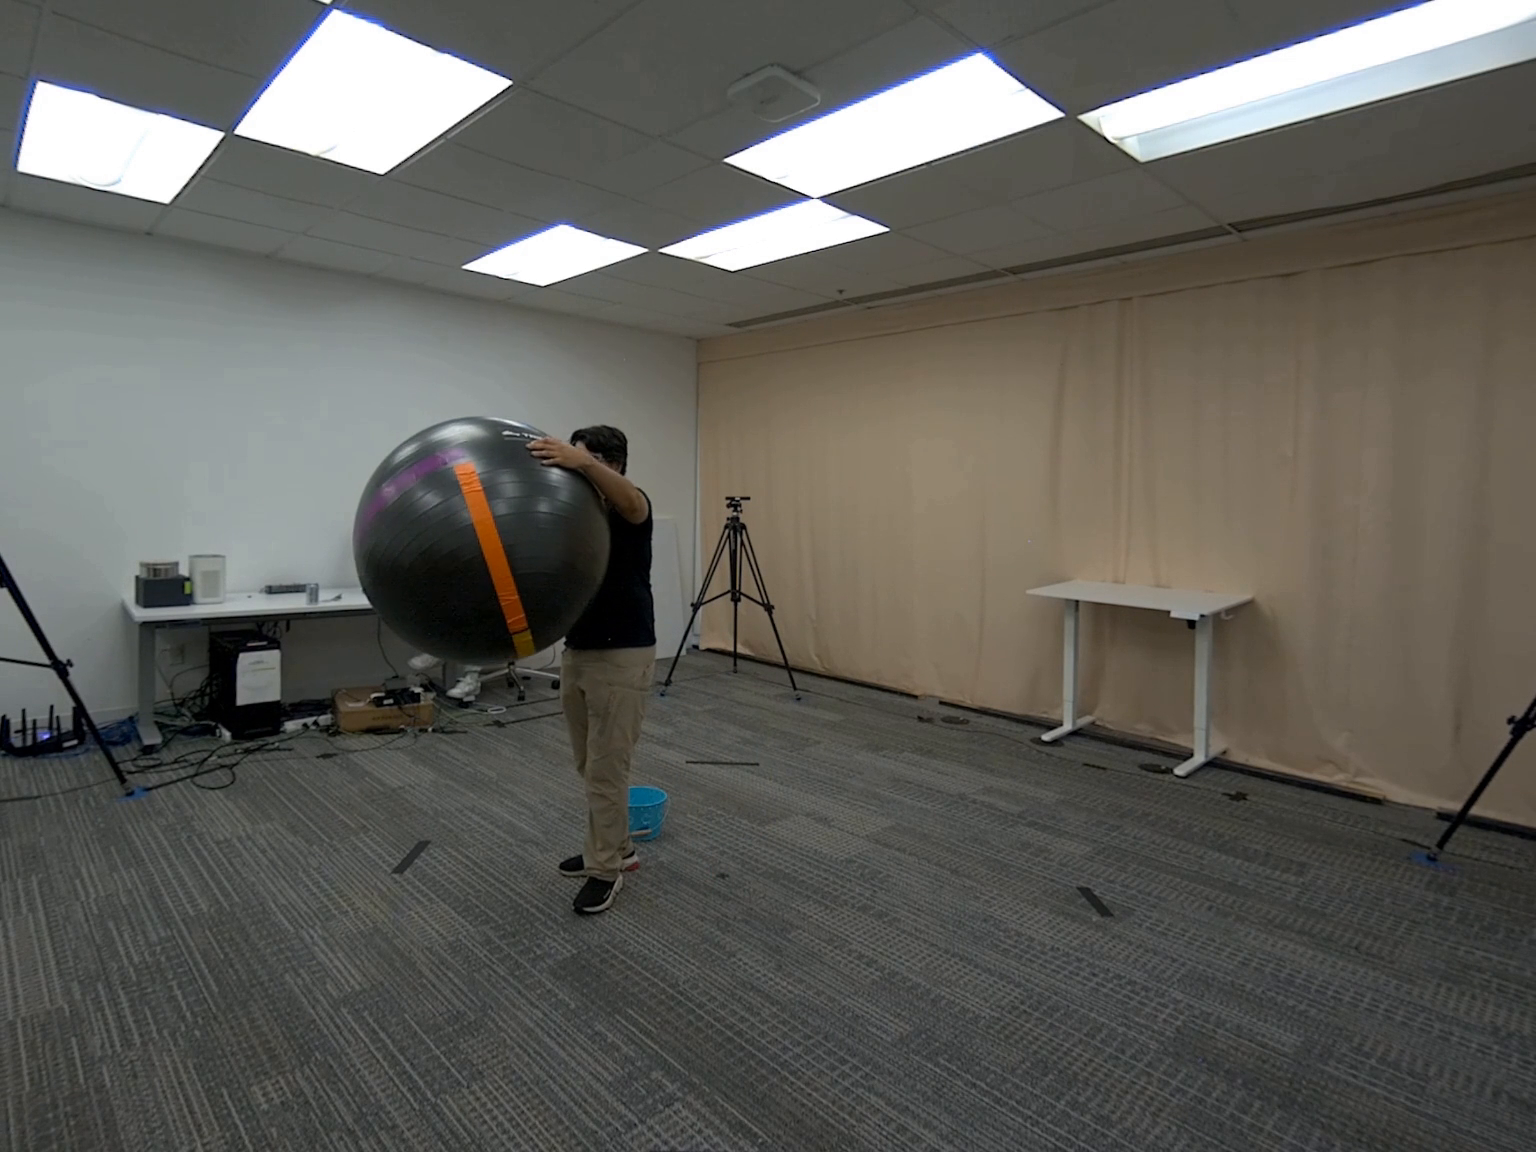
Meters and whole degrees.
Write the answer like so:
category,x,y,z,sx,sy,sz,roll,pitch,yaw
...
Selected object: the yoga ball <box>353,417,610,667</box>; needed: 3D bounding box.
category,x,y,z,sx,sy,sz,roll,pitch,yaw
yoga ball,-0.885,-0.098,2.579,0.757,0.756,0.761,1,4,-1
